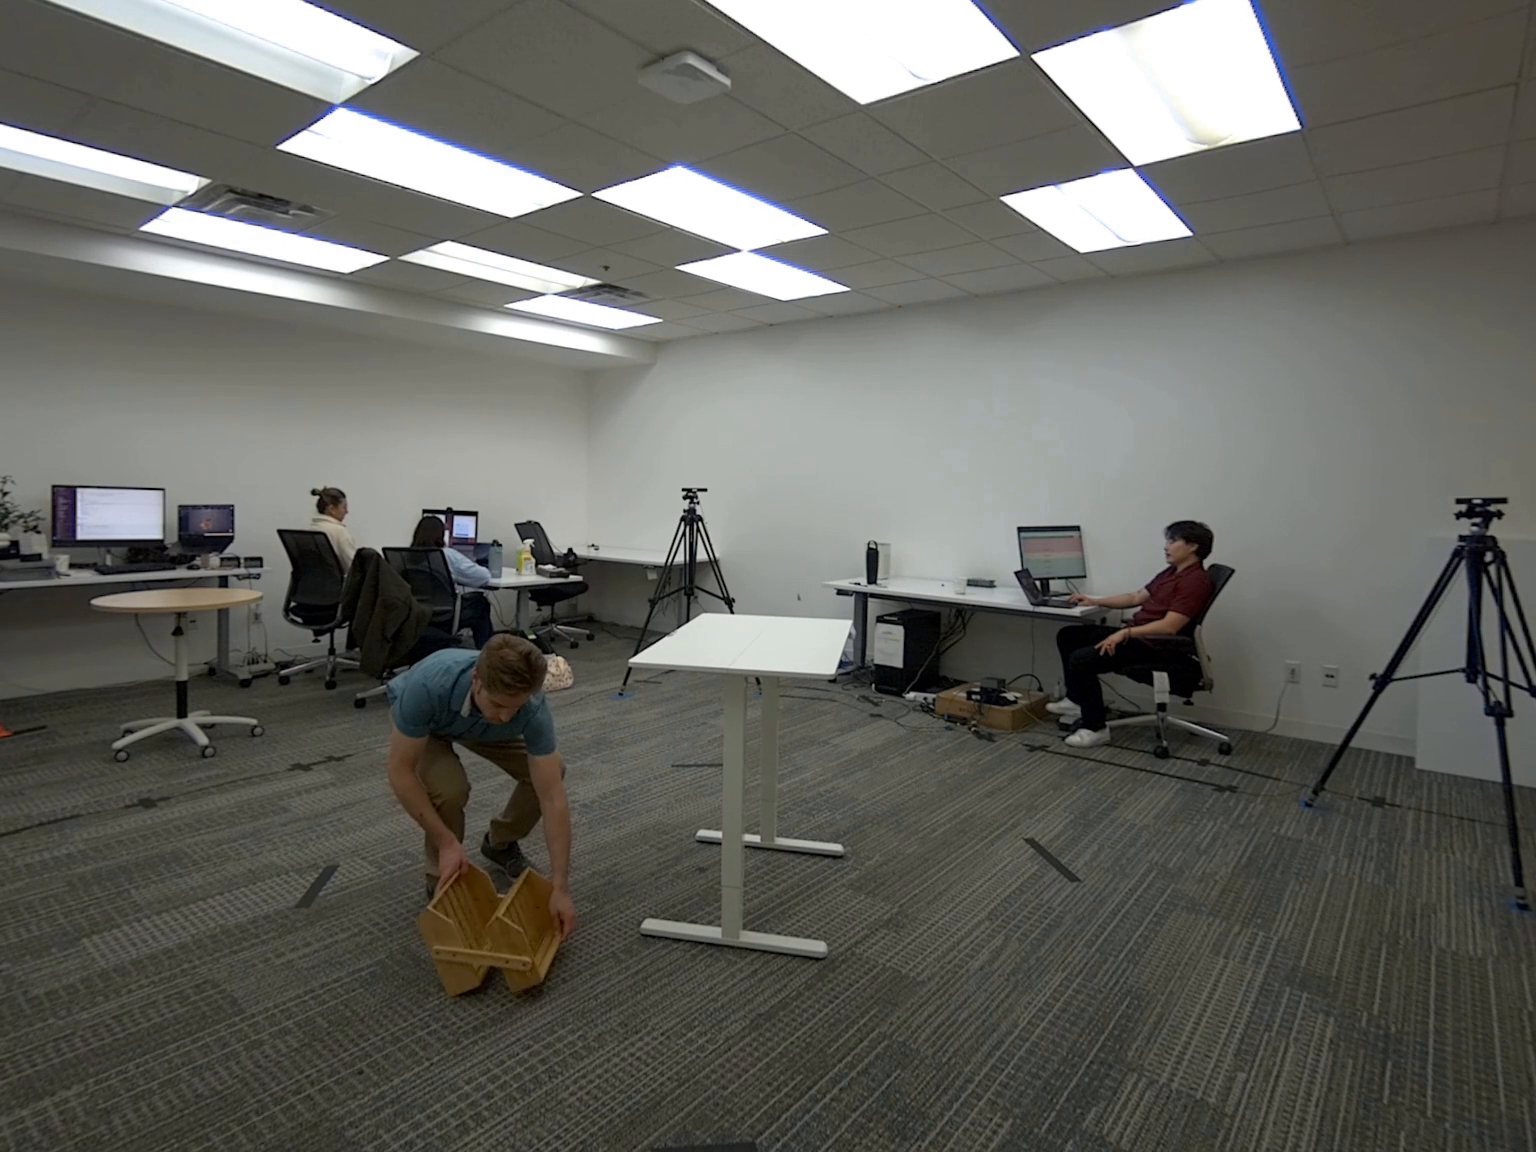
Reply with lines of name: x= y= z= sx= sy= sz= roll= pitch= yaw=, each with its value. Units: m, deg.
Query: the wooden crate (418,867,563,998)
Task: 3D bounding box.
wooden crate: x=-0.790 y=0.984 z=2.434 sx=0.274 sy=0.301 sz=0.325 roll=-23 pitch=5 yaw=3
